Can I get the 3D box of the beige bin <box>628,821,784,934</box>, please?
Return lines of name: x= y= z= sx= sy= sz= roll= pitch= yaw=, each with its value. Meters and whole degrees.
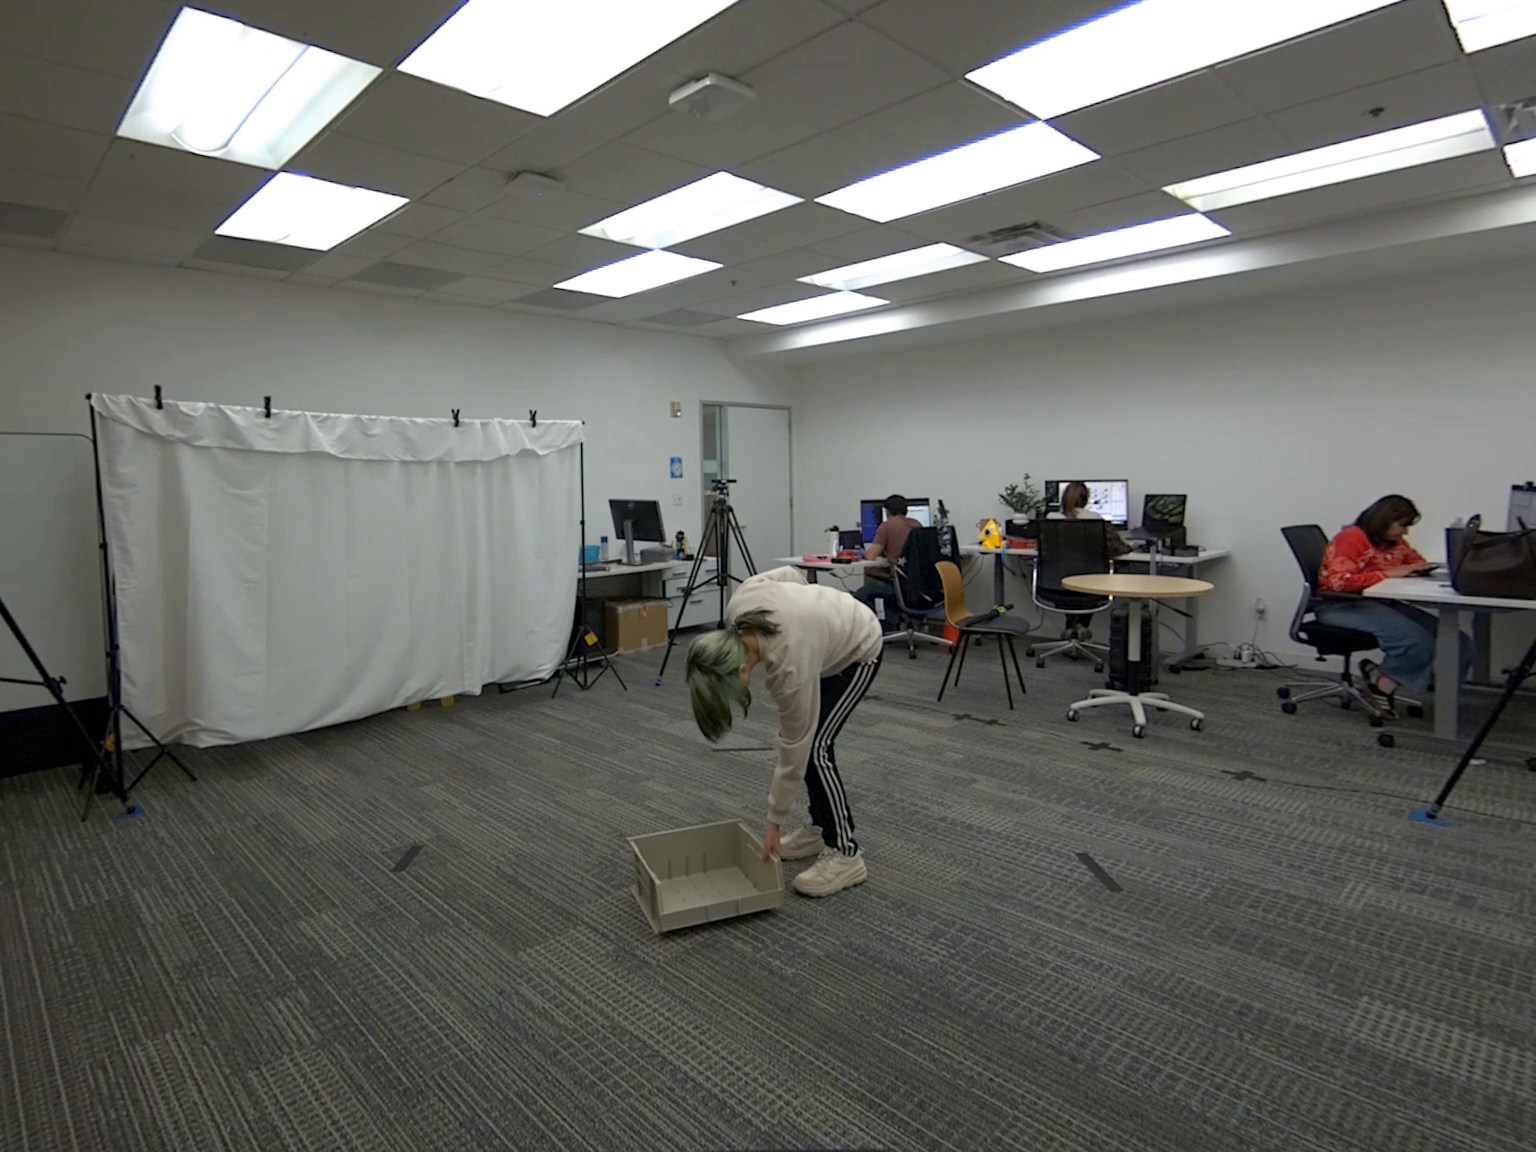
beige bin: x=-0.207 y=0.993 z=2.823 sx=0.414 sy=0.188 sz=0.386 roll=-5 pitch=6 yaw=-22
